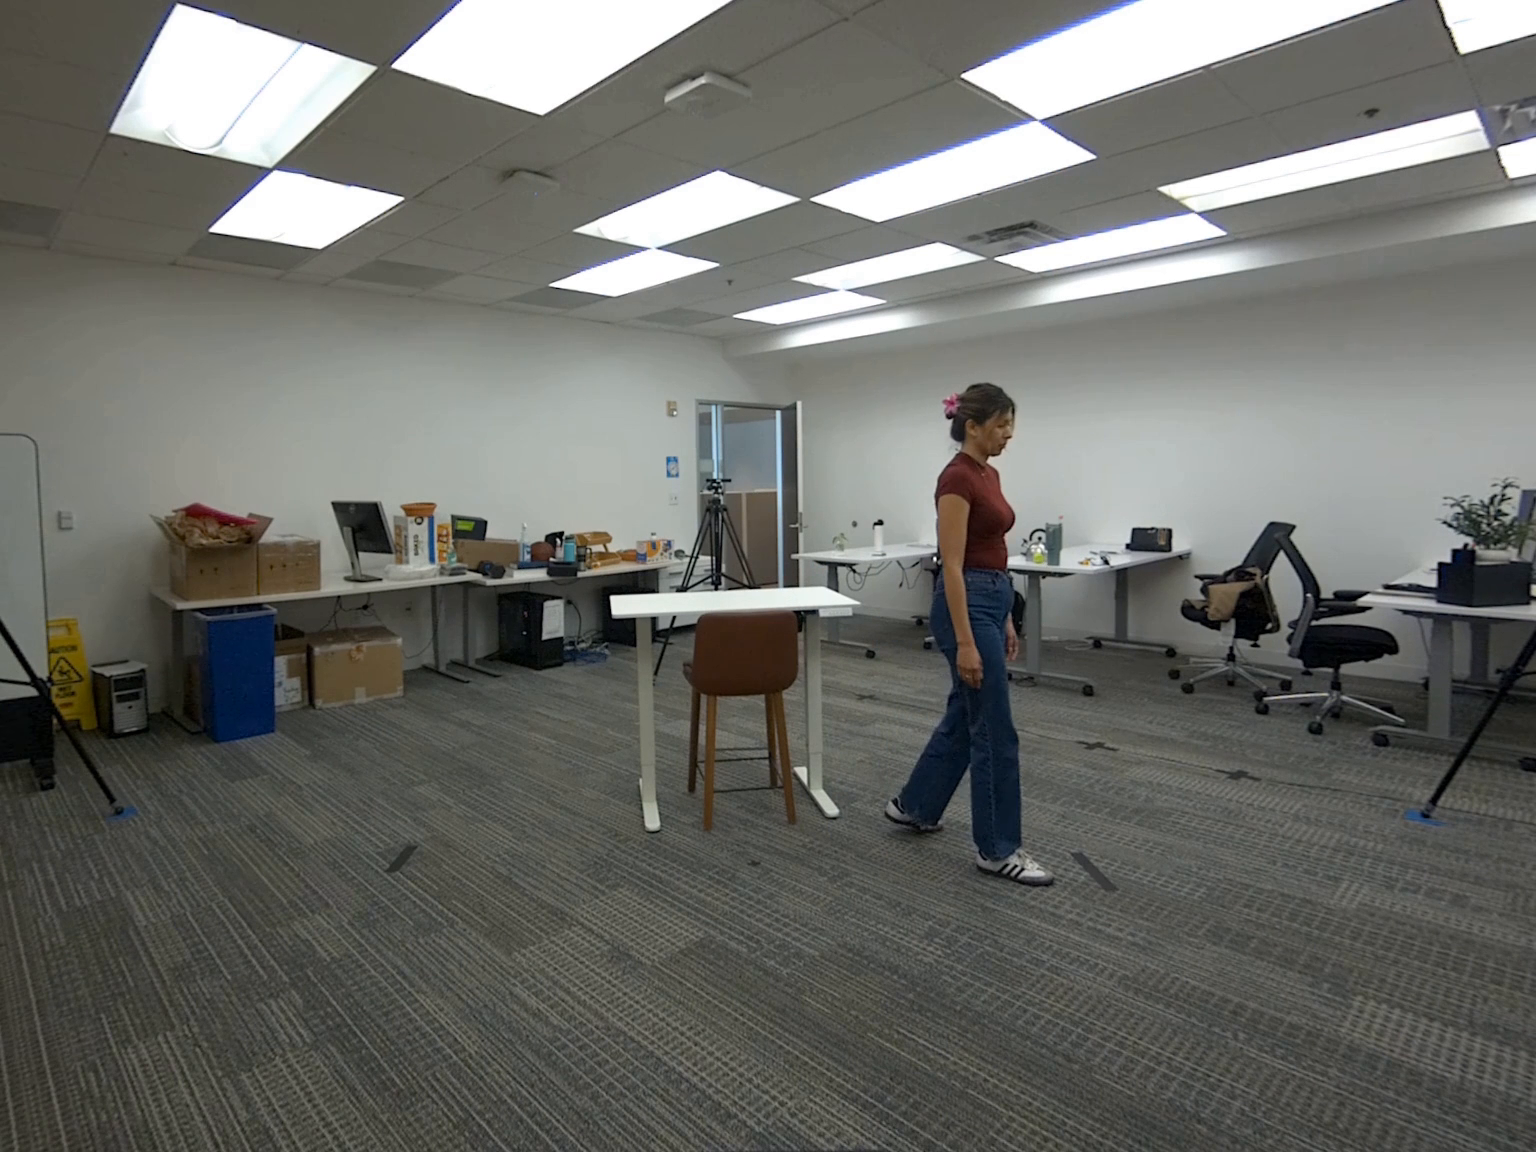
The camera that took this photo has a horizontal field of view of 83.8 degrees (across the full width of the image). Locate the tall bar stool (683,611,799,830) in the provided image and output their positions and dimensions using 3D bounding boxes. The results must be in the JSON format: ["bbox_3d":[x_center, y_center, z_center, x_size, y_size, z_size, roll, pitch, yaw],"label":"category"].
[{"bbox_3d":[-0.113,0.566,3.617,0.453,0.886,0.474,1,5,-9],"label":"tall bar stool"}]
